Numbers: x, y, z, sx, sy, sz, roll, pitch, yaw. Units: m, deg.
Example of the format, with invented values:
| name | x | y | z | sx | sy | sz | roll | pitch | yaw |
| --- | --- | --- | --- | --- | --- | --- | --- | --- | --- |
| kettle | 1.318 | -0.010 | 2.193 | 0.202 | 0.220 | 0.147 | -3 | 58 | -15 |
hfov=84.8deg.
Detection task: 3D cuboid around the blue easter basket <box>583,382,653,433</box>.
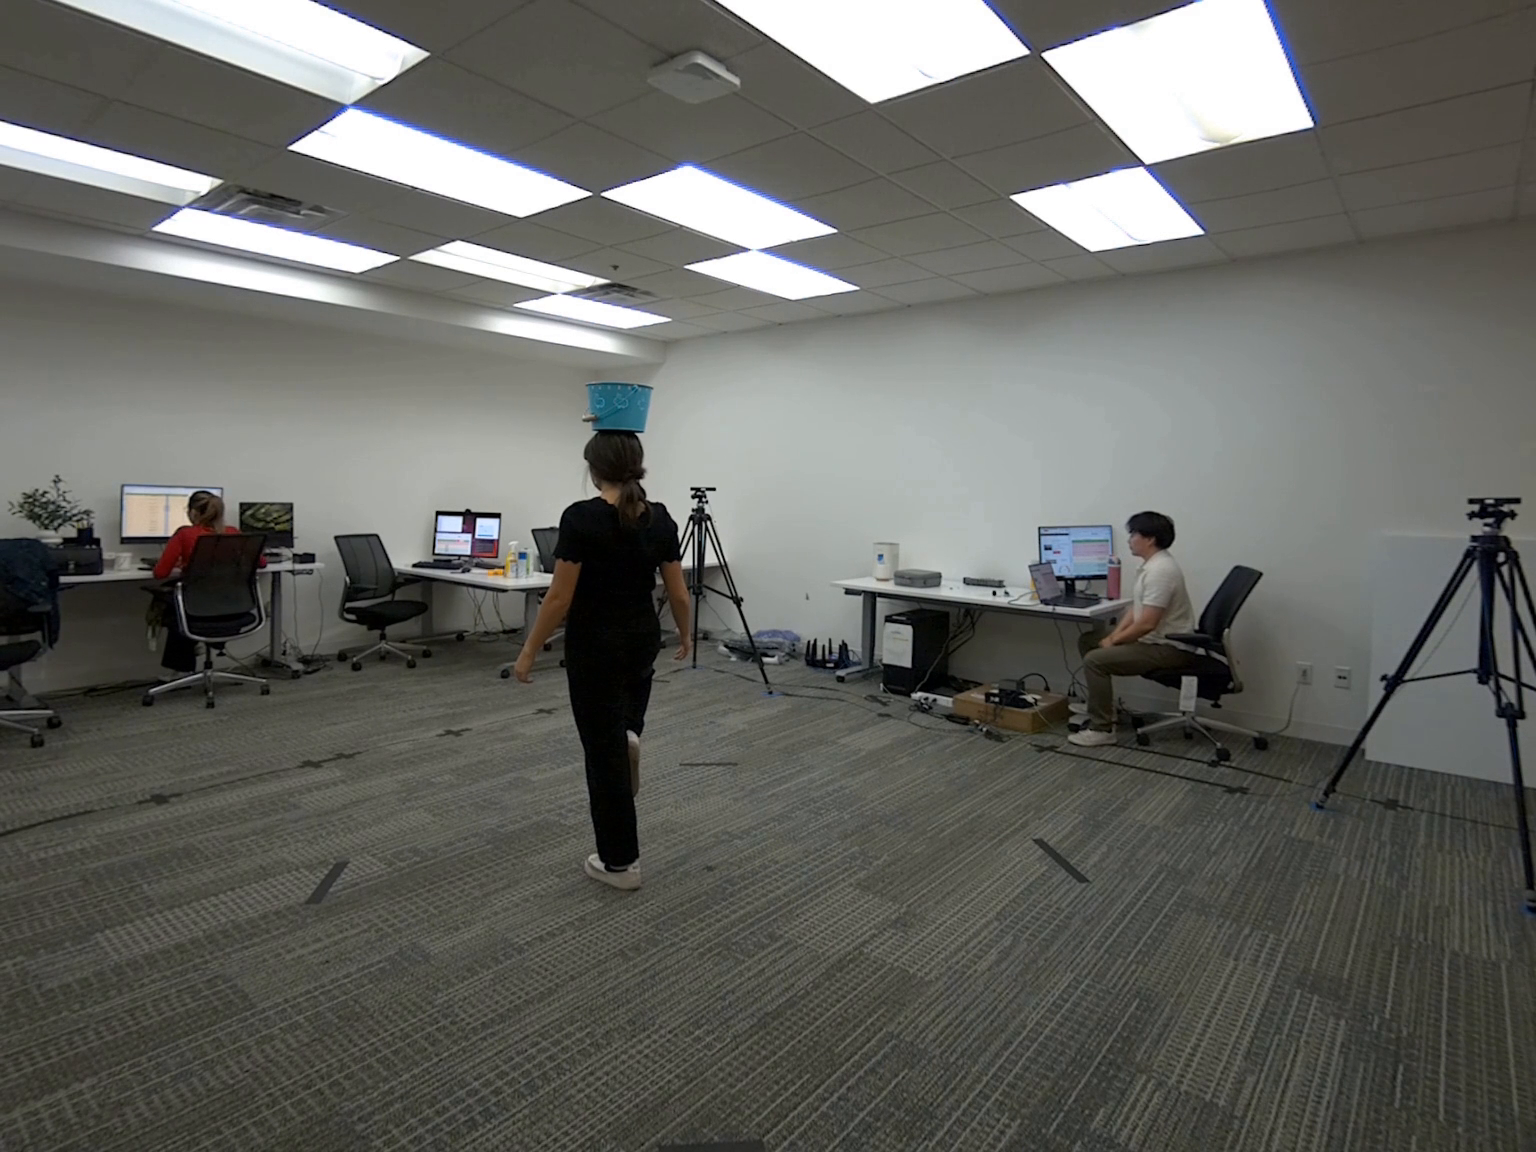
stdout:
| name | x | y | z | sx | sy | sz | roll | pitch | yaw |
| --- | --- | --- | --- | --- | --- | --- | --- | --- | --- |
| blue easter basket | -0.524 | -0.575 | 2.888 | 0.243 | 0.155 | 0.245 | 2 | 5 | -2 |
